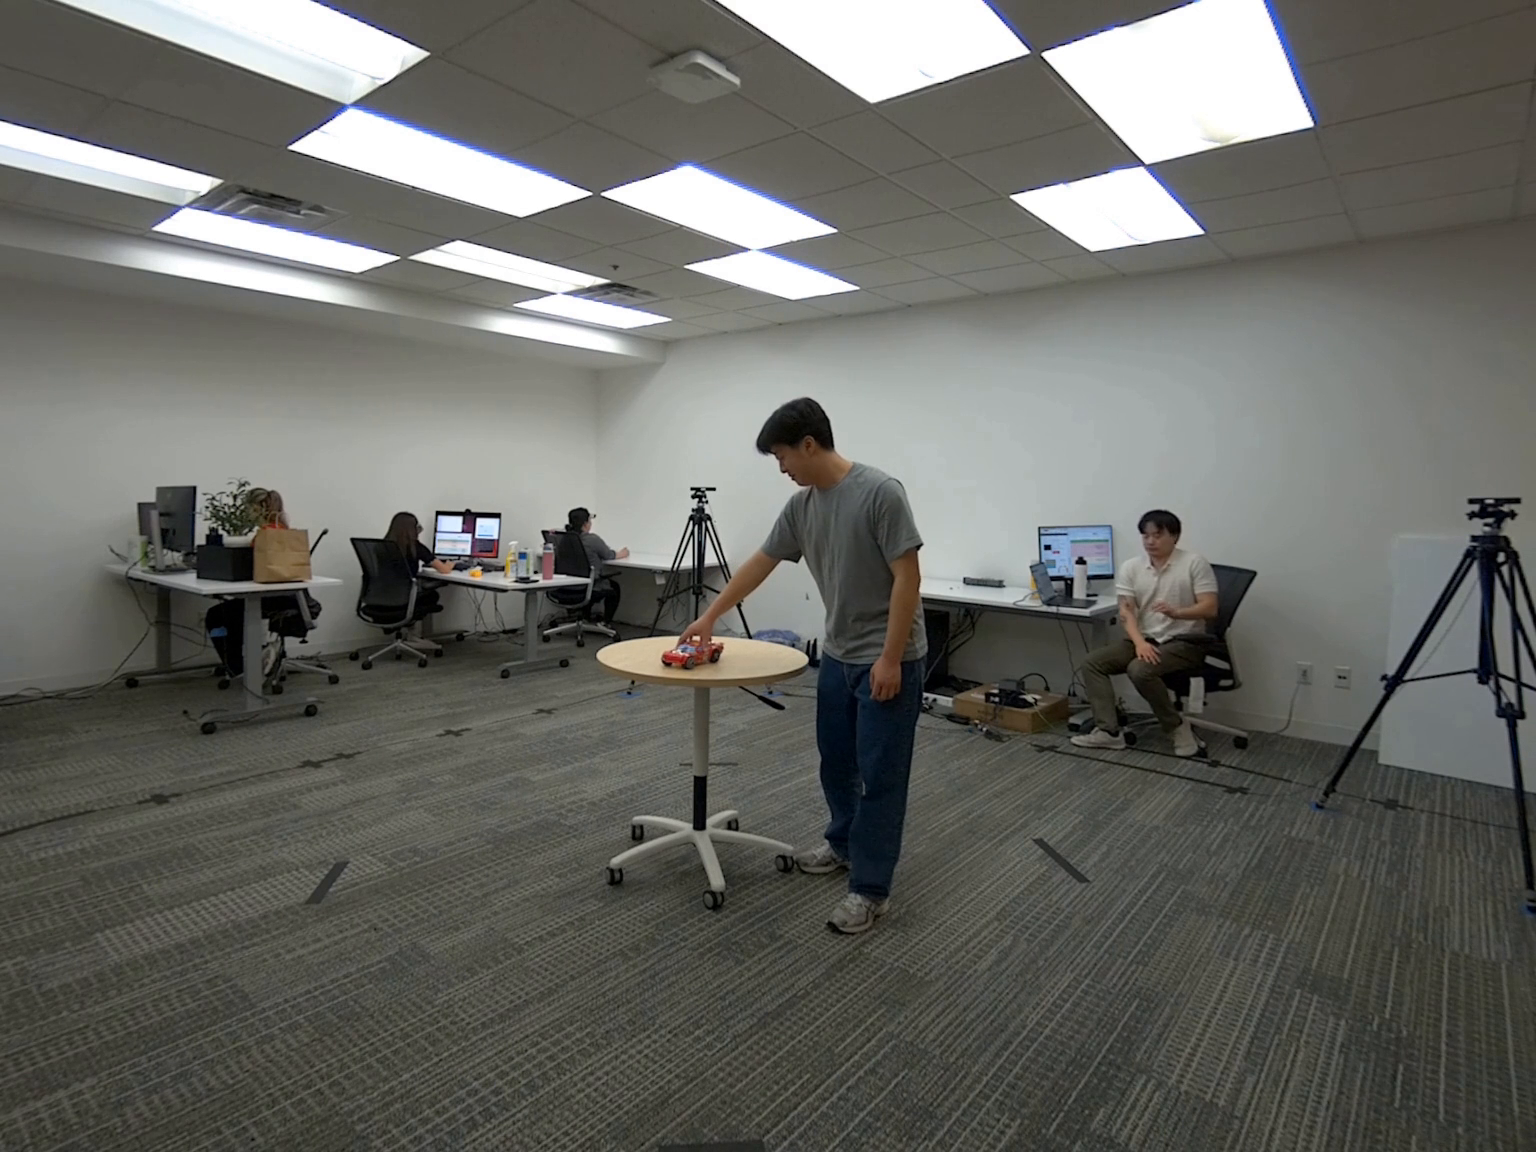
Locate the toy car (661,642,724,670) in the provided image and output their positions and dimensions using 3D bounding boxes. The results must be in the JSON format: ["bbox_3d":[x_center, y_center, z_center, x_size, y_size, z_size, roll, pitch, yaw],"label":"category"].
[{"bbox_3d":[-0.266,0.266,2.953,0.134,0.082,0.250,5,17,35],"label":"toy car"}]
